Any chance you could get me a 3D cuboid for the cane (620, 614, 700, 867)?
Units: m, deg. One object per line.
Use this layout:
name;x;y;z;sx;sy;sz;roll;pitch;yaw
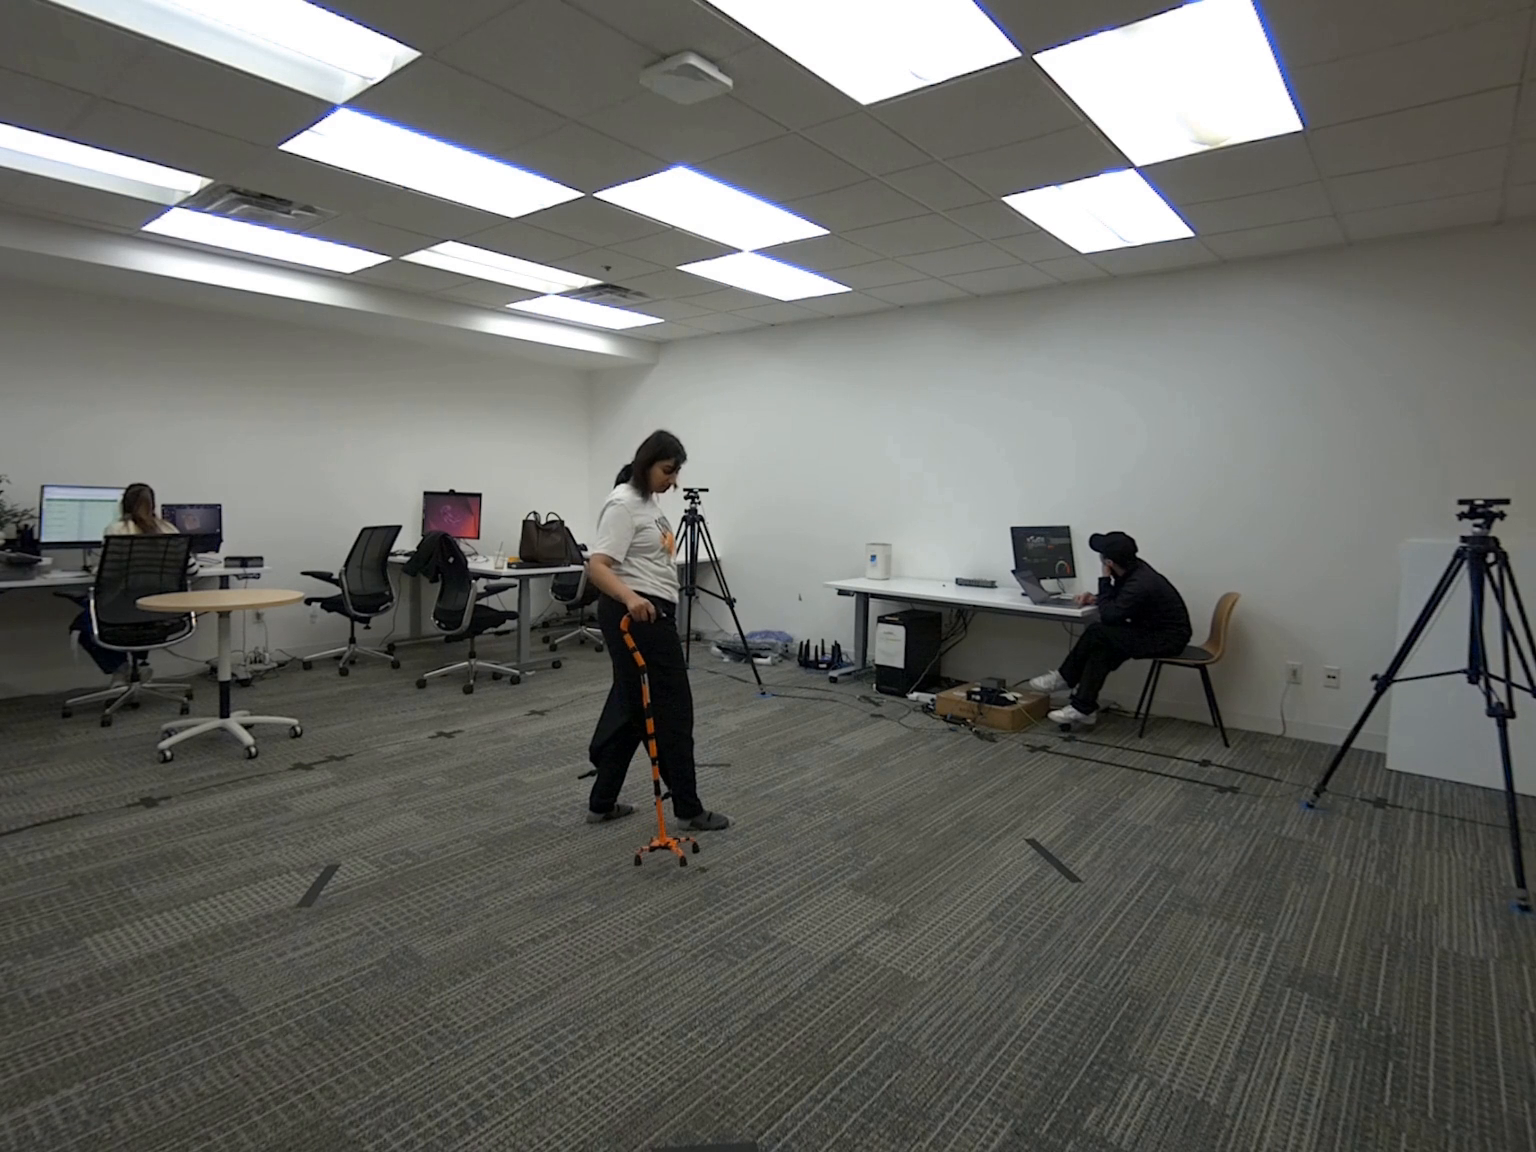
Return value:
cane;-0.430;0.571;3.077;0.210;0.907;0.149;-5;1;18
